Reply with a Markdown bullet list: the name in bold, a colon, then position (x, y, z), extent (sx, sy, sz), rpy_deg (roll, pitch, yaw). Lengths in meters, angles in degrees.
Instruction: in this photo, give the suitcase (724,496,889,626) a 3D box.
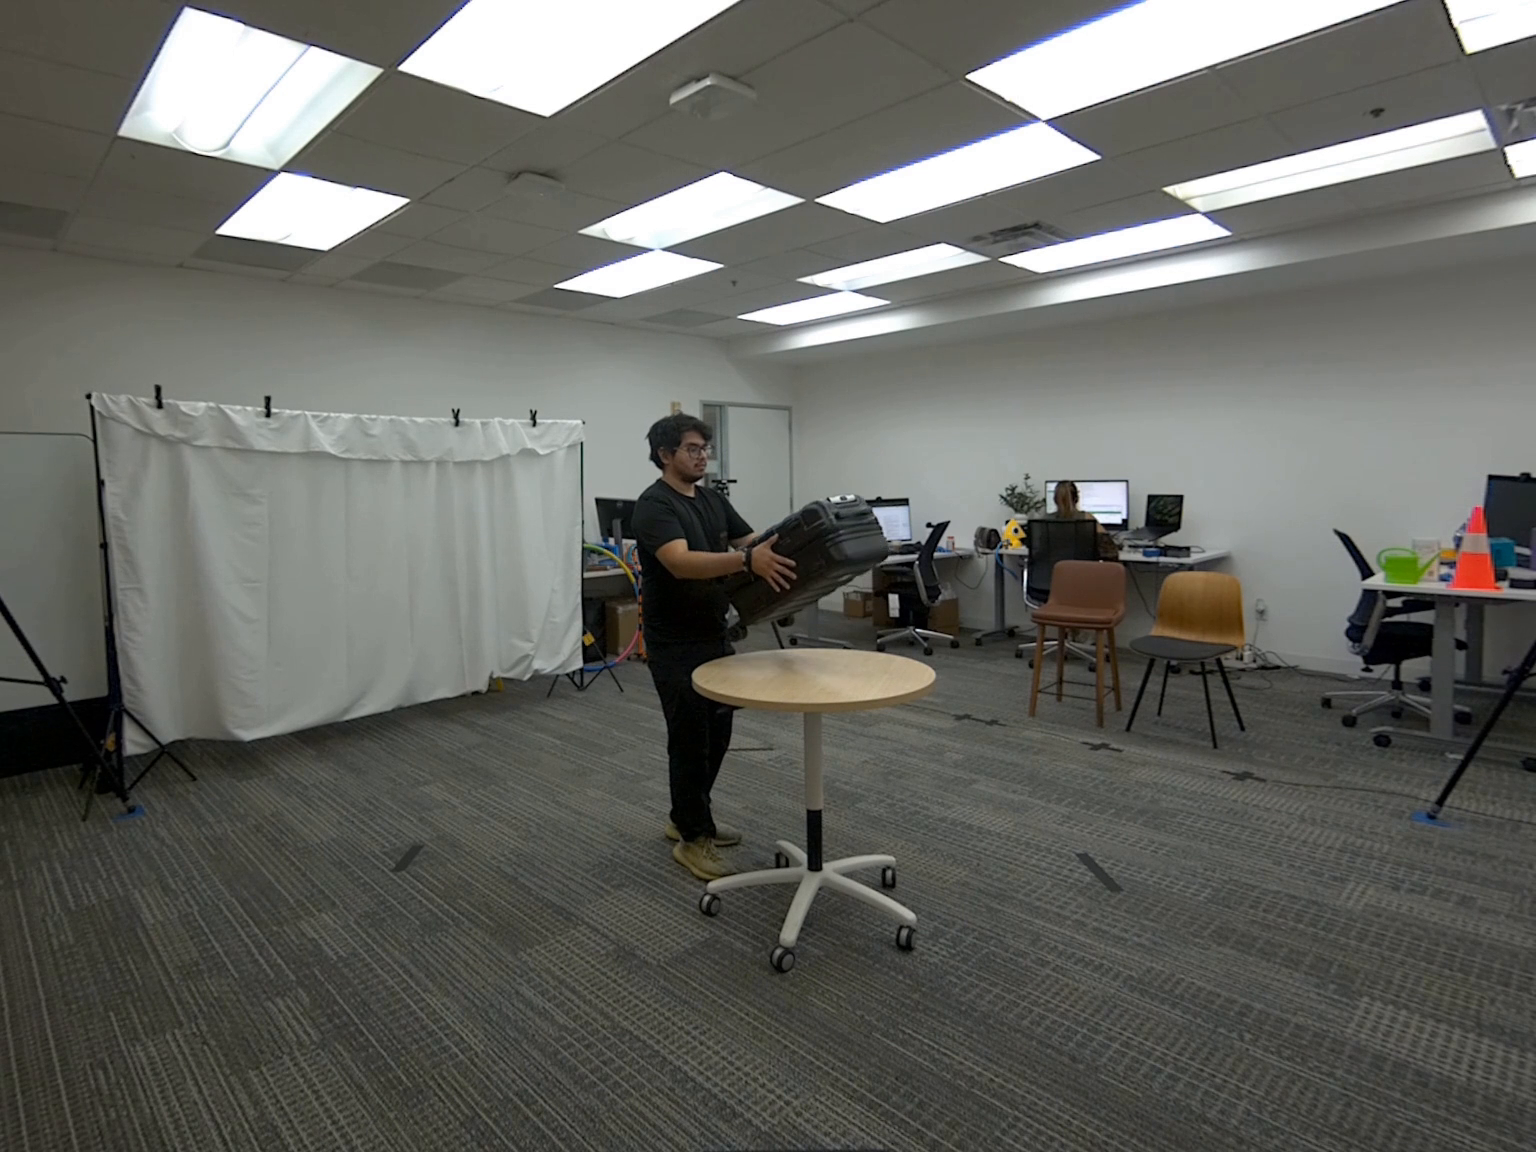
- **suitcase**: position (0.116, -0.043, 2.847), extent (0.554, 0.252, 0.366), rpy_deg (-33, -13, 33)
